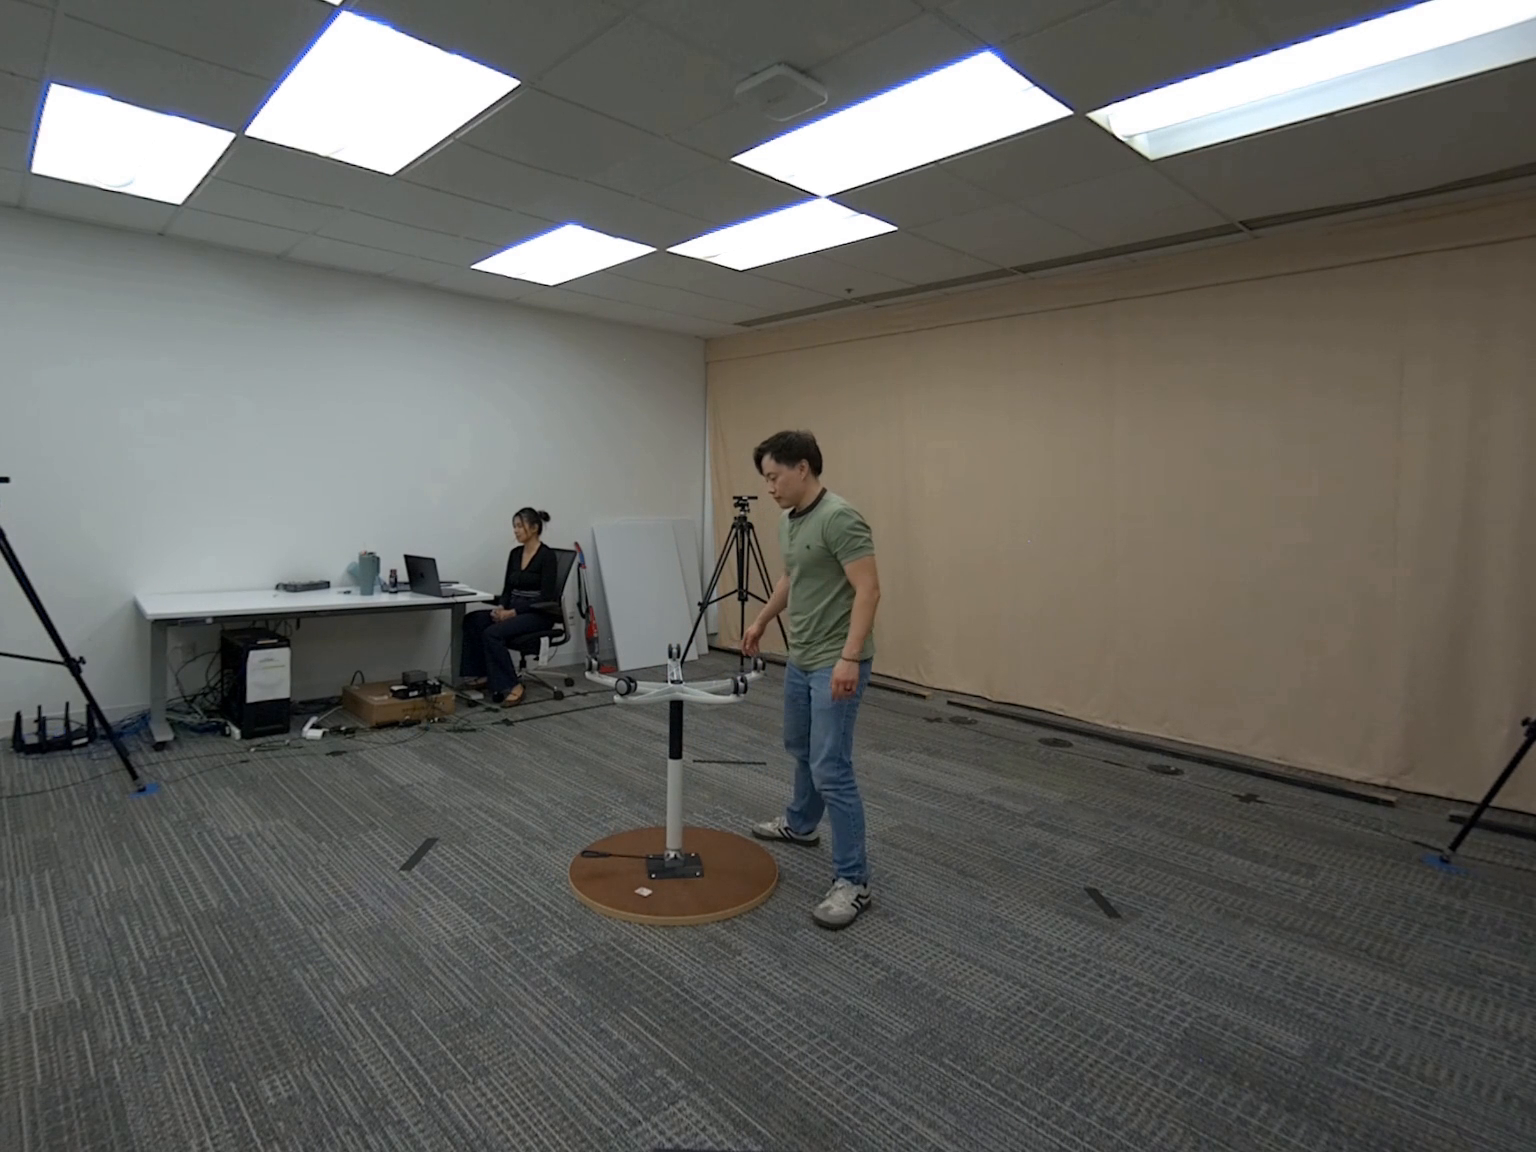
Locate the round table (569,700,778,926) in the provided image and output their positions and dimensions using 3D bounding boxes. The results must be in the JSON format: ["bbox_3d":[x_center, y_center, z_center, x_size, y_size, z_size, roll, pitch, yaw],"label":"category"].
[{"bbox_3d":[-0.346,0.709,3.085,0.763,0.792,0.766,2,4,-1],"label":"round table"}]
